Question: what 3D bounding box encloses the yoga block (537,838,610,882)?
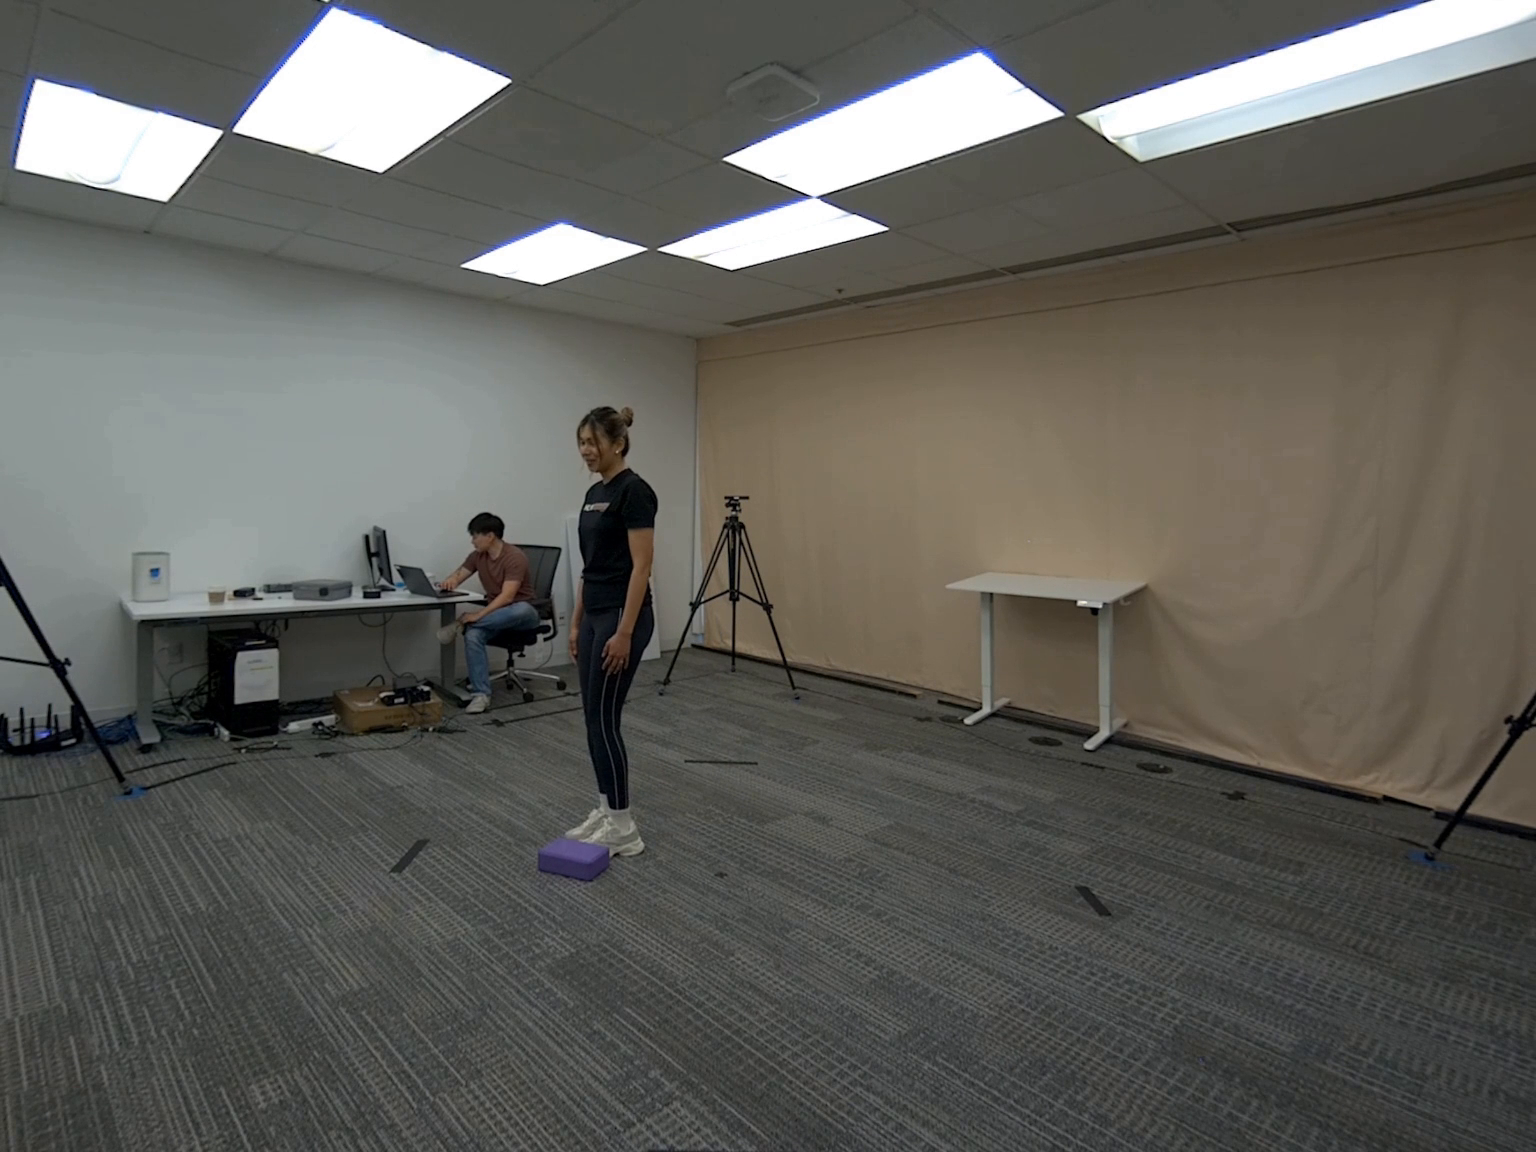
[{"bbox_3d":[-0.727,1.048,3.119,0.233,0.076,0.147,4,6,21],"label":"yoga block"}]
